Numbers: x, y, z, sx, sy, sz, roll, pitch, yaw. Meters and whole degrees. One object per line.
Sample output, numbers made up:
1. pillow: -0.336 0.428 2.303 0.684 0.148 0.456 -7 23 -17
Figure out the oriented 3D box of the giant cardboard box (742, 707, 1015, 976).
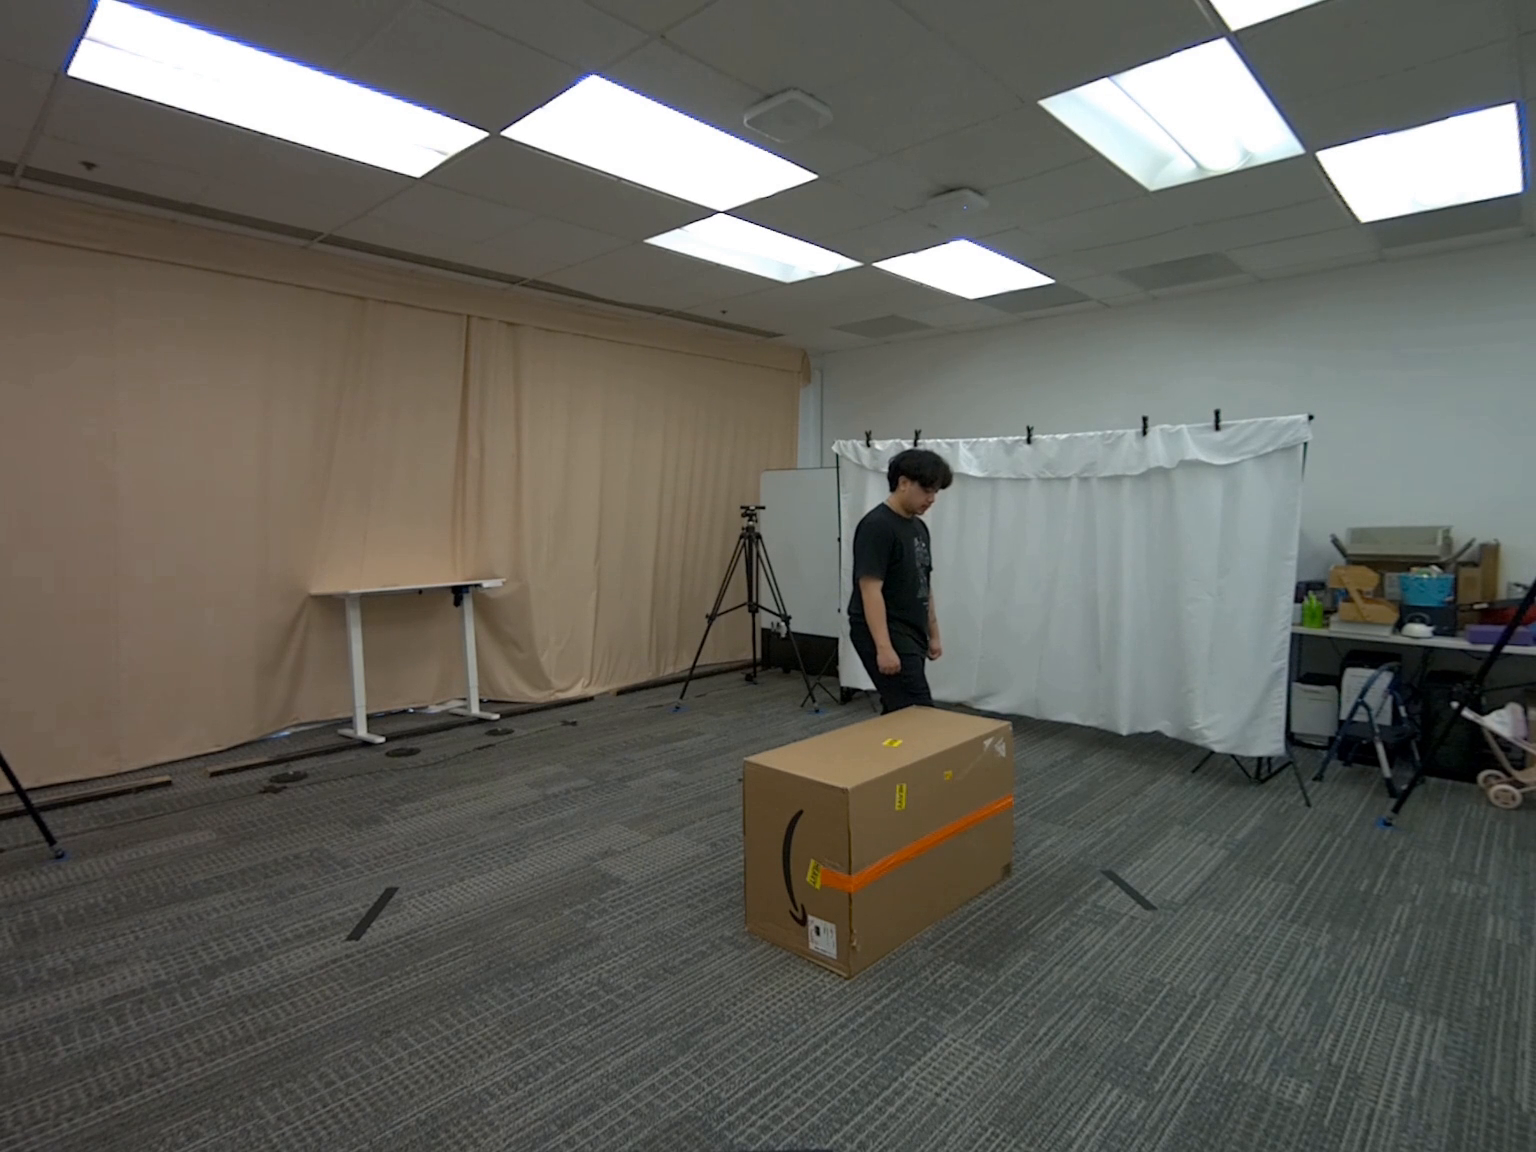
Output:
1. giant cardboard box: 0.419 0.861 2.949 0.462 0.582 0.996 4 7 43
